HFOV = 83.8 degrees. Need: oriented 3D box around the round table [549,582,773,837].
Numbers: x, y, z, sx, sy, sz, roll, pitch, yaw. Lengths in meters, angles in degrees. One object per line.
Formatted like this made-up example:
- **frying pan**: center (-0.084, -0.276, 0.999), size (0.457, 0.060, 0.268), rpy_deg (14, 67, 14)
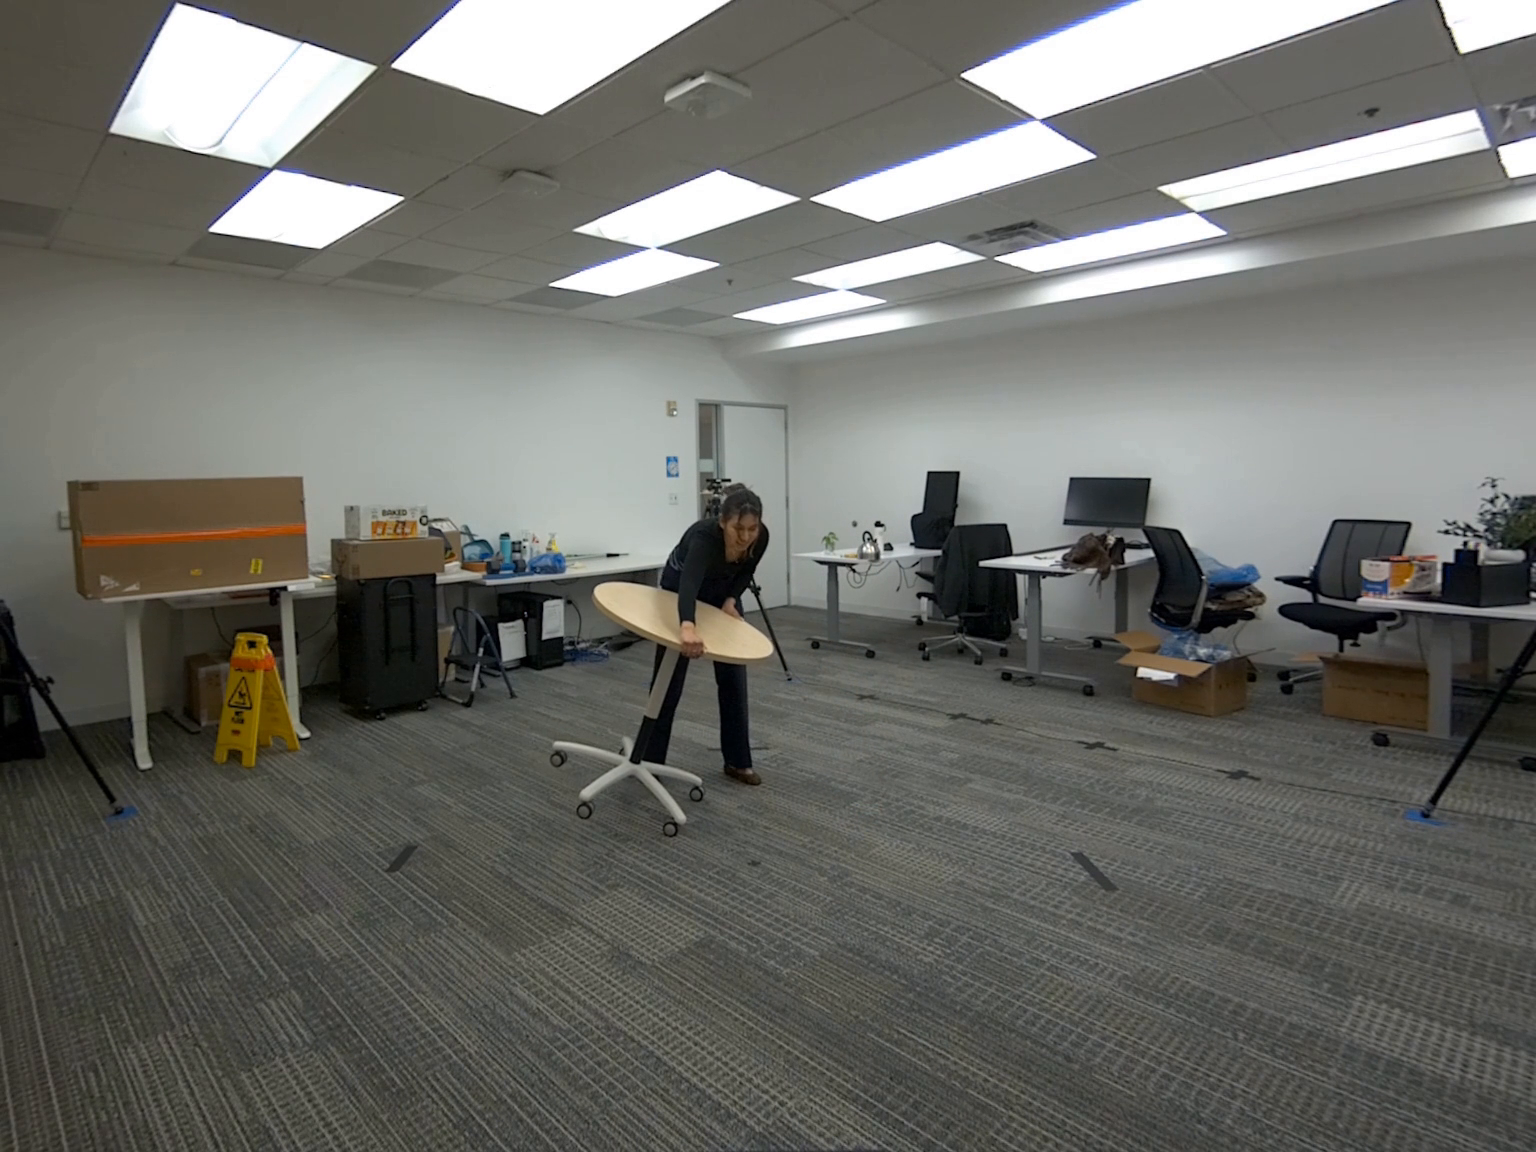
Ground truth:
- **round table**: center (-0.476, 0.540, 3.525), size (0.761, 0.790, 0.771), rpy_deg (18, 9, -5)
